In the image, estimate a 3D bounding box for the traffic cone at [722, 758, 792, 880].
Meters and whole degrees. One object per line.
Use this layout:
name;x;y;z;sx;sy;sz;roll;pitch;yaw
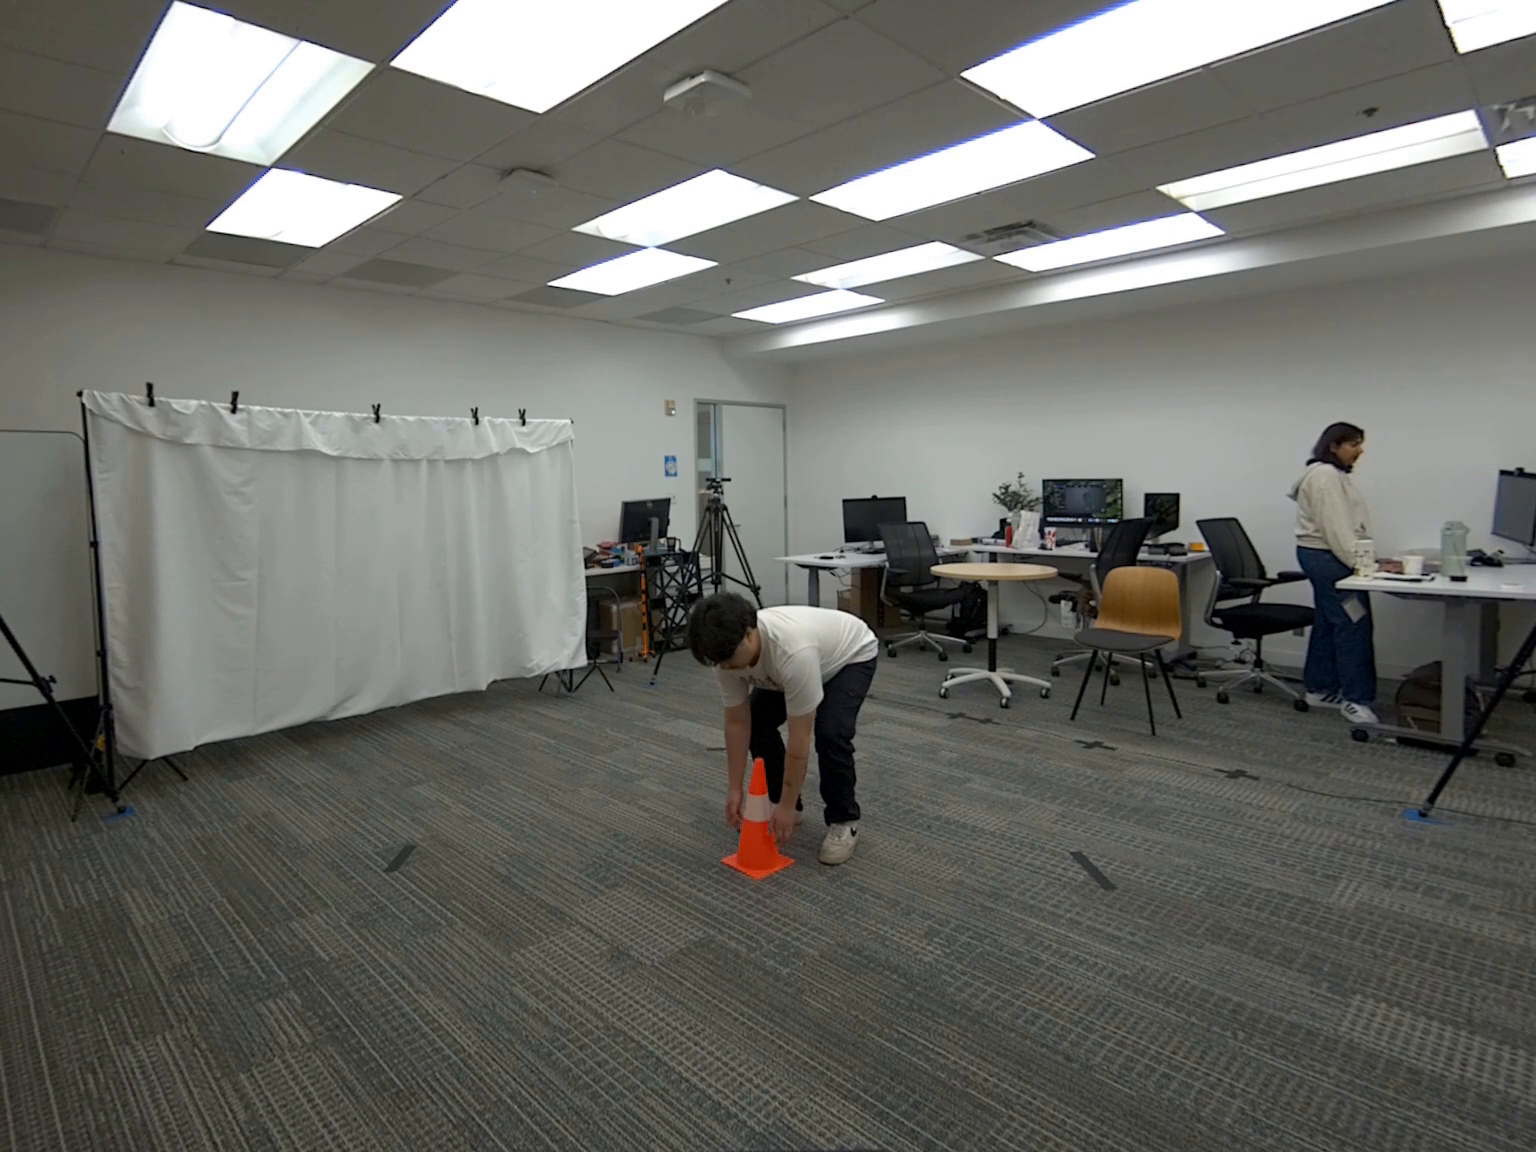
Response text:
traffic cone;-0.019;0.855;3.114;0.197;0.382;0.212;-1;6;-45
